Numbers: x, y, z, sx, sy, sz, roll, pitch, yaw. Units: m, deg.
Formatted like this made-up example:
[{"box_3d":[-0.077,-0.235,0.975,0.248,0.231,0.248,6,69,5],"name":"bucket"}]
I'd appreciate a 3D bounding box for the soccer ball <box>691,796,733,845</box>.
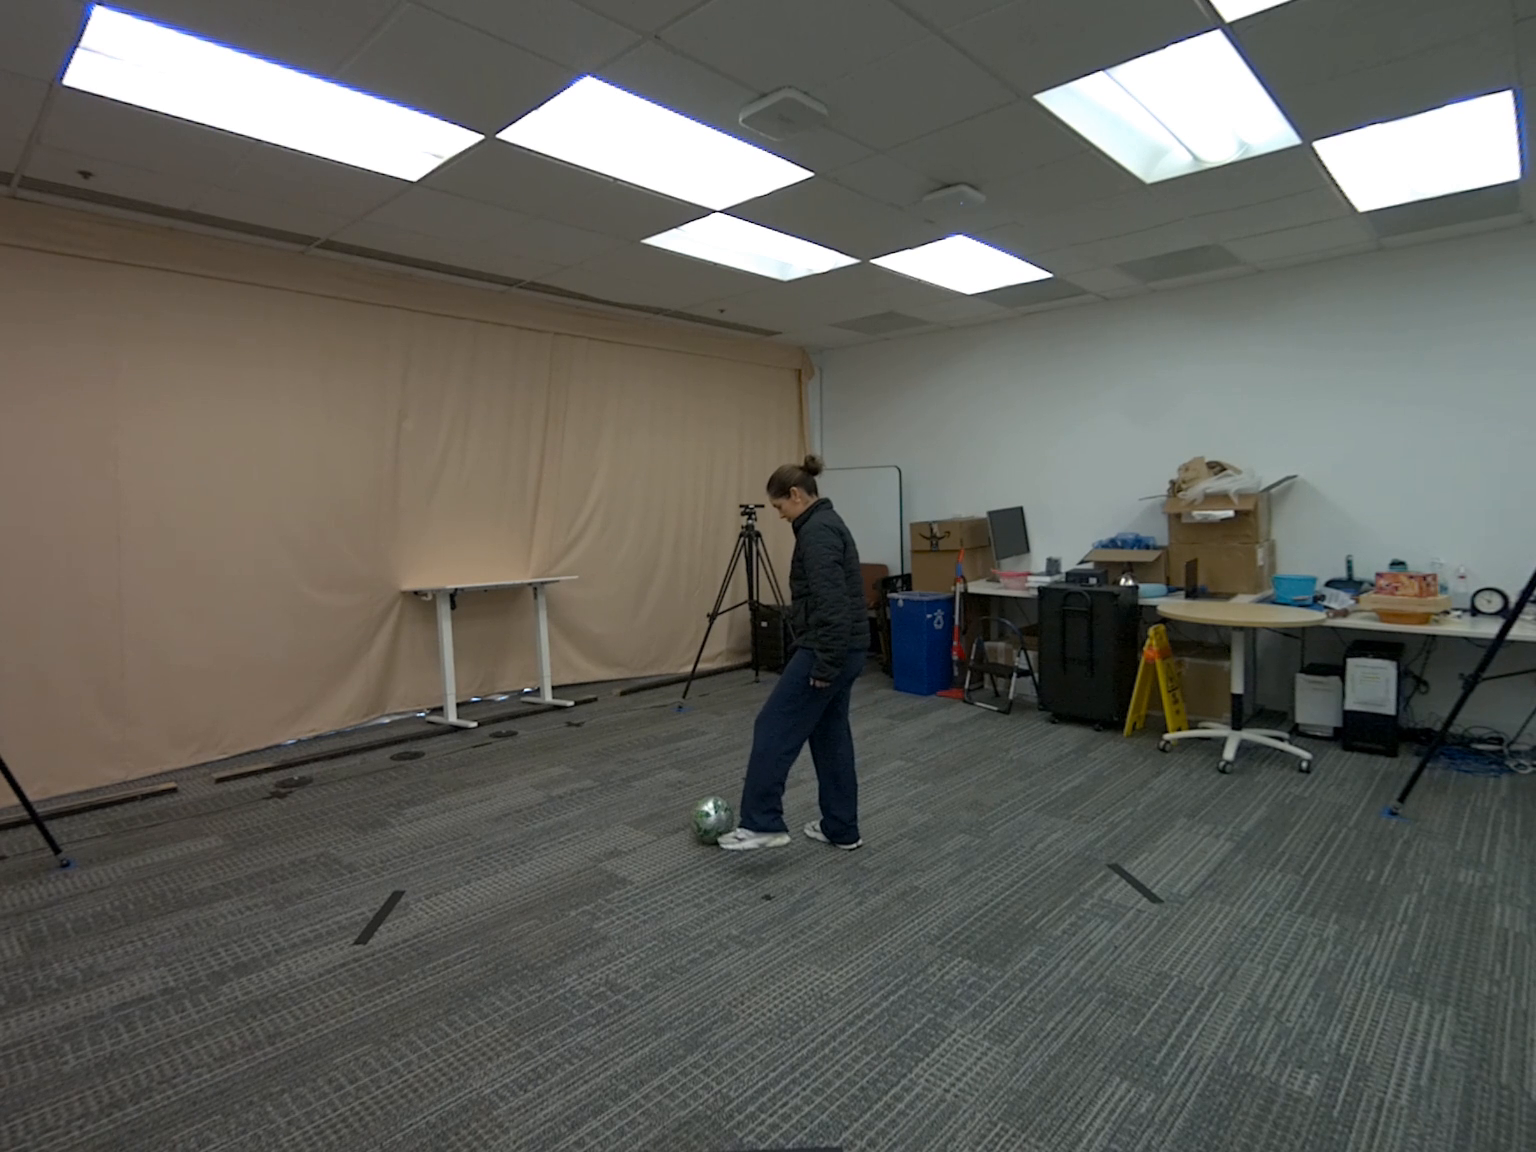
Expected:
[{"box_3d":[-0.231,1.012,3.487,0.187,0.187,0.188,-1,4,-2],"name":"soccer ball"}]
